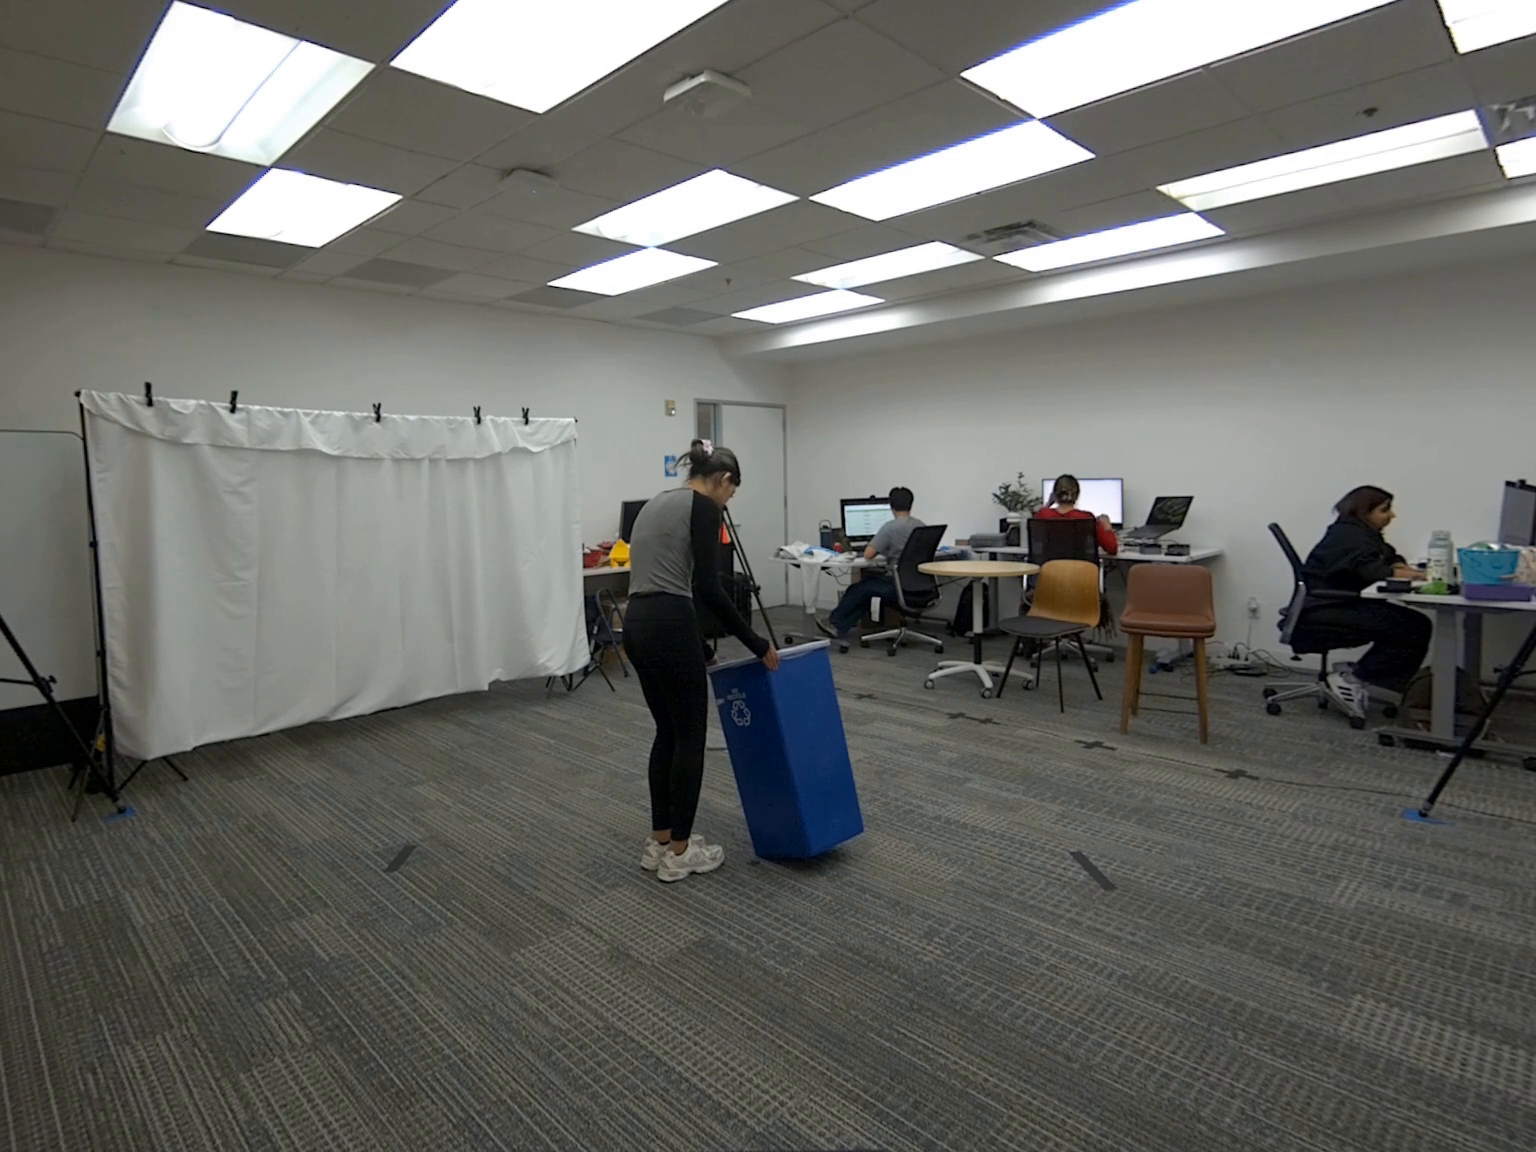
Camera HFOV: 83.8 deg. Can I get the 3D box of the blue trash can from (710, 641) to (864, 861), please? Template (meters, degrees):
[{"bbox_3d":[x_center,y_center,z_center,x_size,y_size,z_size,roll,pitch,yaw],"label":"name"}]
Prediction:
[{"bbox_3d":[0.078,0.640,3.211,0.368,0.721,0.380,-6,-11,-43],"label":"blue trash can"}]
